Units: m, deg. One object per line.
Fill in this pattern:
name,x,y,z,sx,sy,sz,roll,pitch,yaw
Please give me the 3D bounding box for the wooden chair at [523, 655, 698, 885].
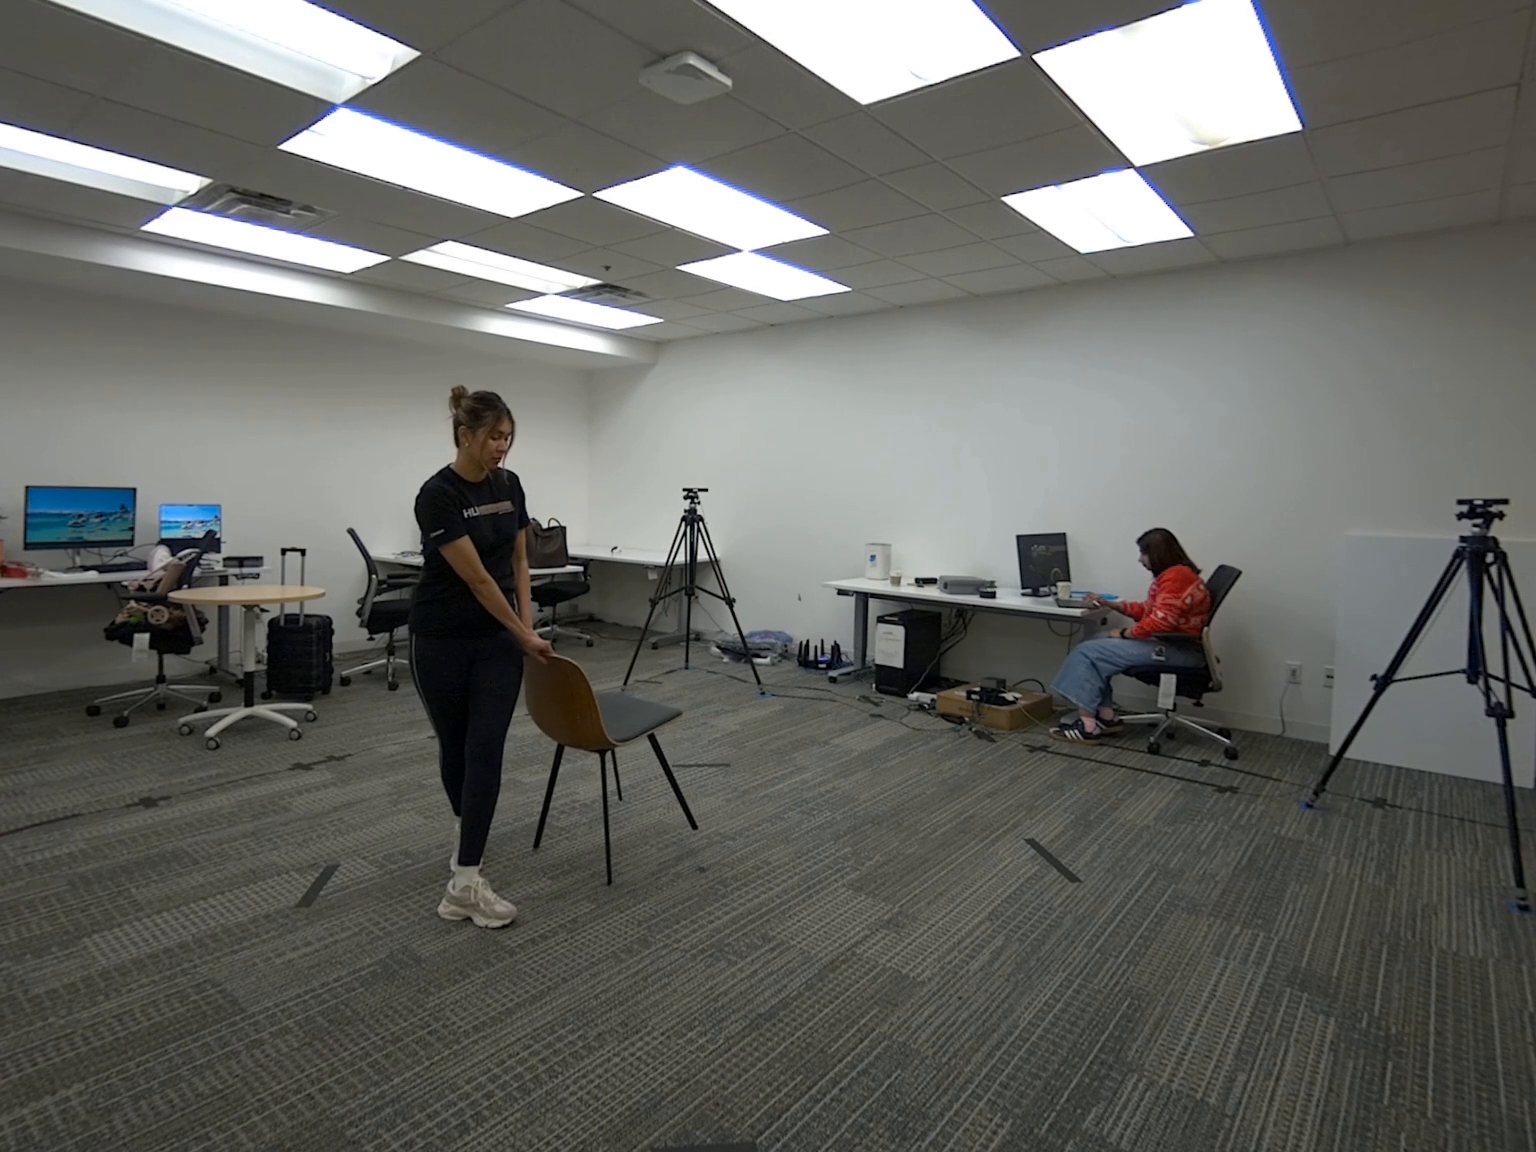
wooden chair,-0.627,0.596,3.205,0.494,0.865,0.513,4,17,40
